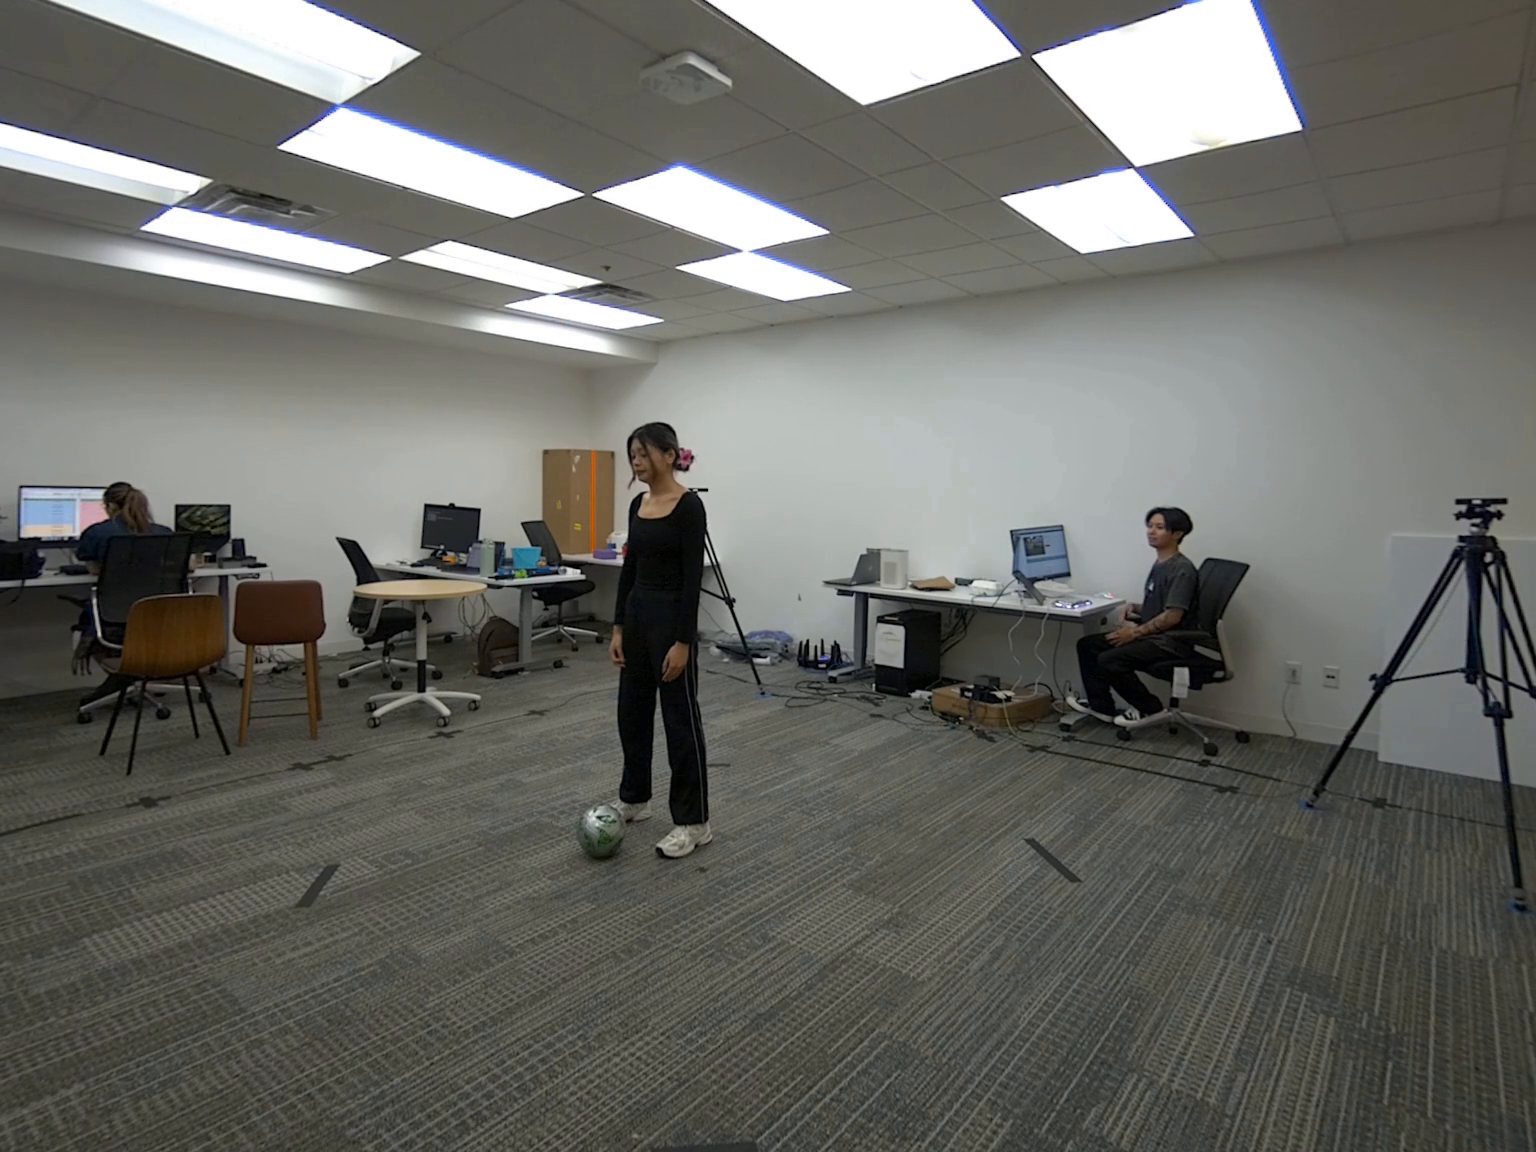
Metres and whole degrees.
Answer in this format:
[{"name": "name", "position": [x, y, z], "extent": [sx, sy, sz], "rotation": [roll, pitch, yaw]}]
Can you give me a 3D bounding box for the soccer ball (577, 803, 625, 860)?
[{"name": "soccer ball", "position": [-0.645, 0.962, 3.213], "extent": [0.187, 0.187, 0.188], "rotation": [1, 4, -2]}]
